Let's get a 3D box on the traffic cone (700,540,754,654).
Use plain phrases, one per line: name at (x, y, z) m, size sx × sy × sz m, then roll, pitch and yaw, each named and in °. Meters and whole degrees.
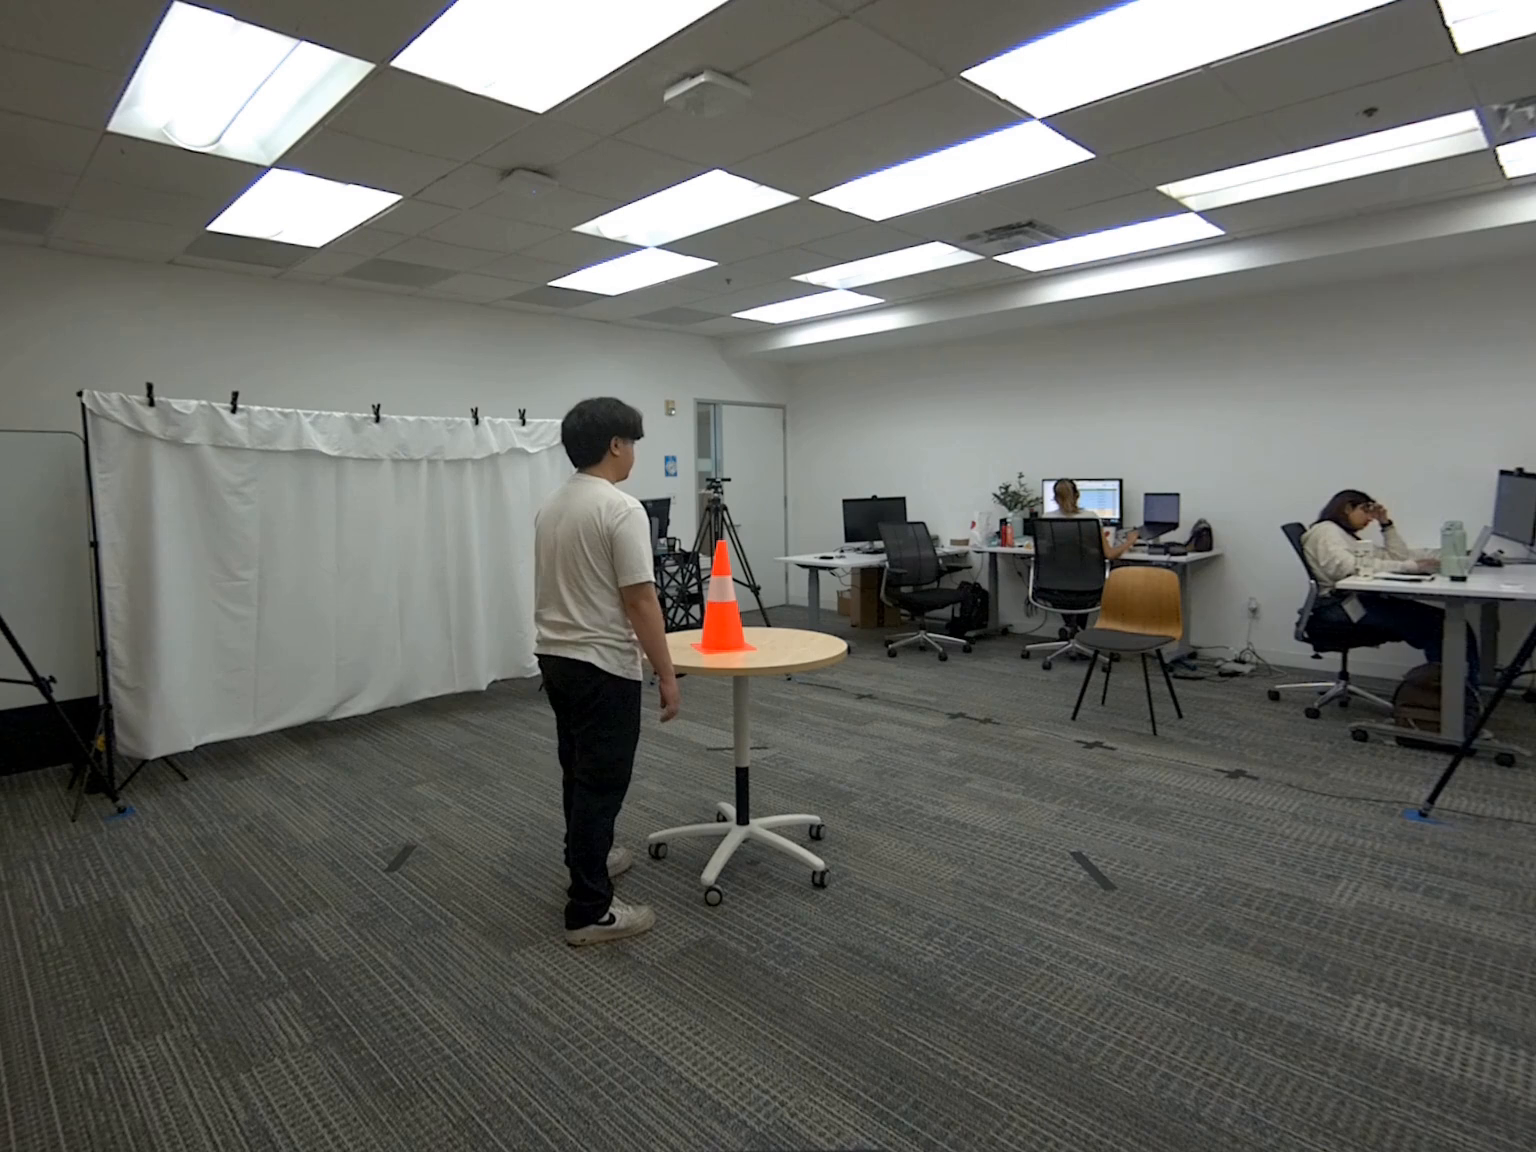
traffic cone at (-0.163, 0.067, 3.037) m, size 0.198 × 0.383 × 0.210 m, roll -2°, pitch 3°, yaw -30°
